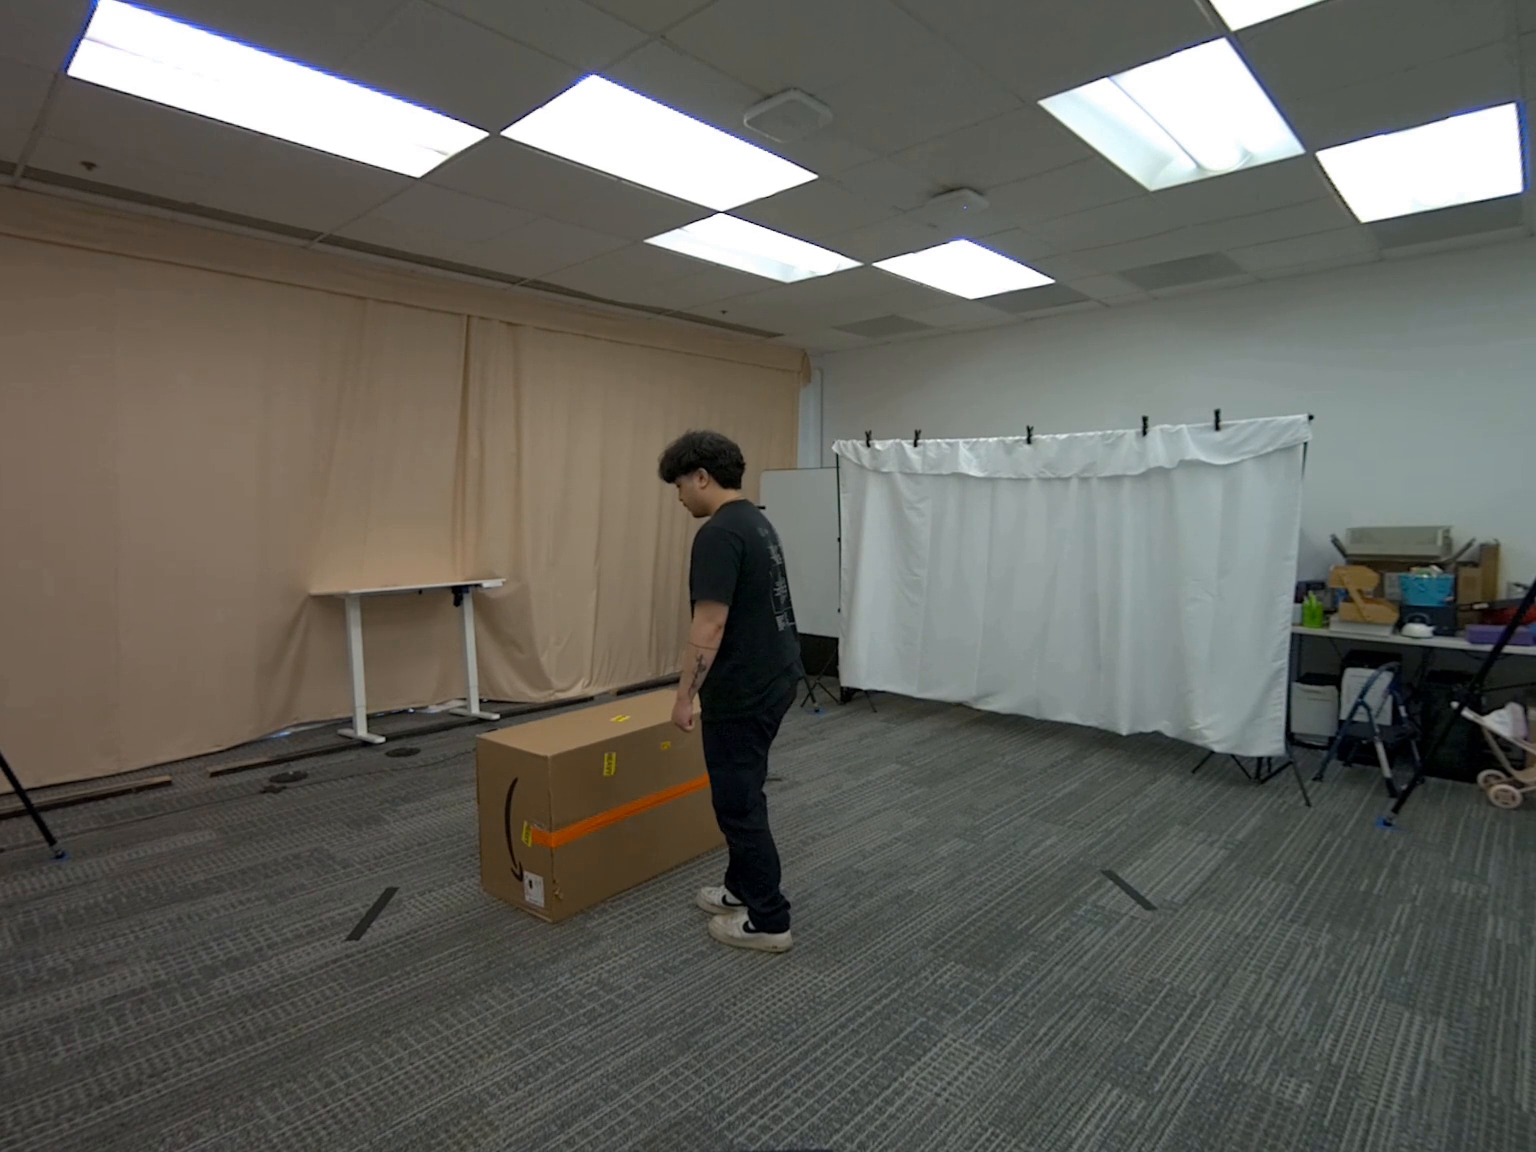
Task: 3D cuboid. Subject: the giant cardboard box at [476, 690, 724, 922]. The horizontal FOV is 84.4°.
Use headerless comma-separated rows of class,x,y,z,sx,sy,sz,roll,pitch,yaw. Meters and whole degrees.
giant cardboard box,-0.579,0.836,3.313,0.461,0.582,0.997,3,6,39
